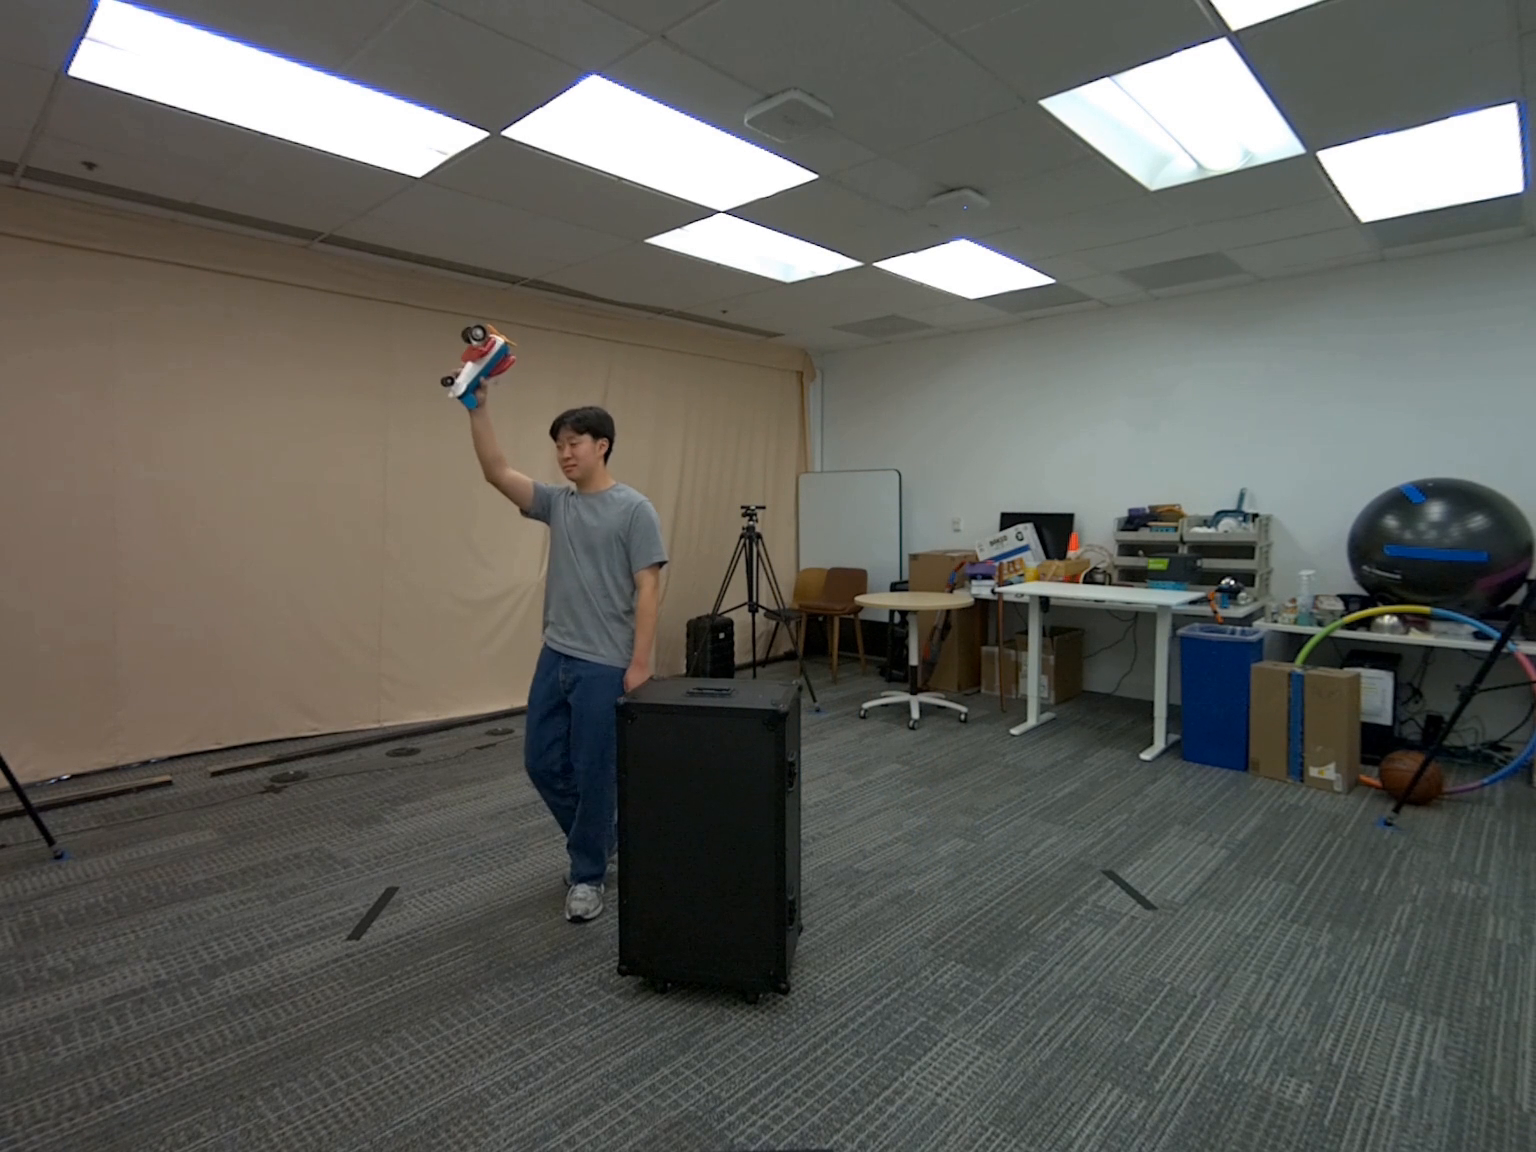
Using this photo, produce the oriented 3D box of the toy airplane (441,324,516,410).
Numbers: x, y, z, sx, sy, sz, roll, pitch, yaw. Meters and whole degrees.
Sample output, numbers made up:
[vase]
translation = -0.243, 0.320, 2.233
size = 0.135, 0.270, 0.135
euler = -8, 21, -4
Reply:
[toy airplane]
translation = -0.941, -0.684, 2.725
size = 0.151, 0.260, 0.259
euler = 27, 20, -35
